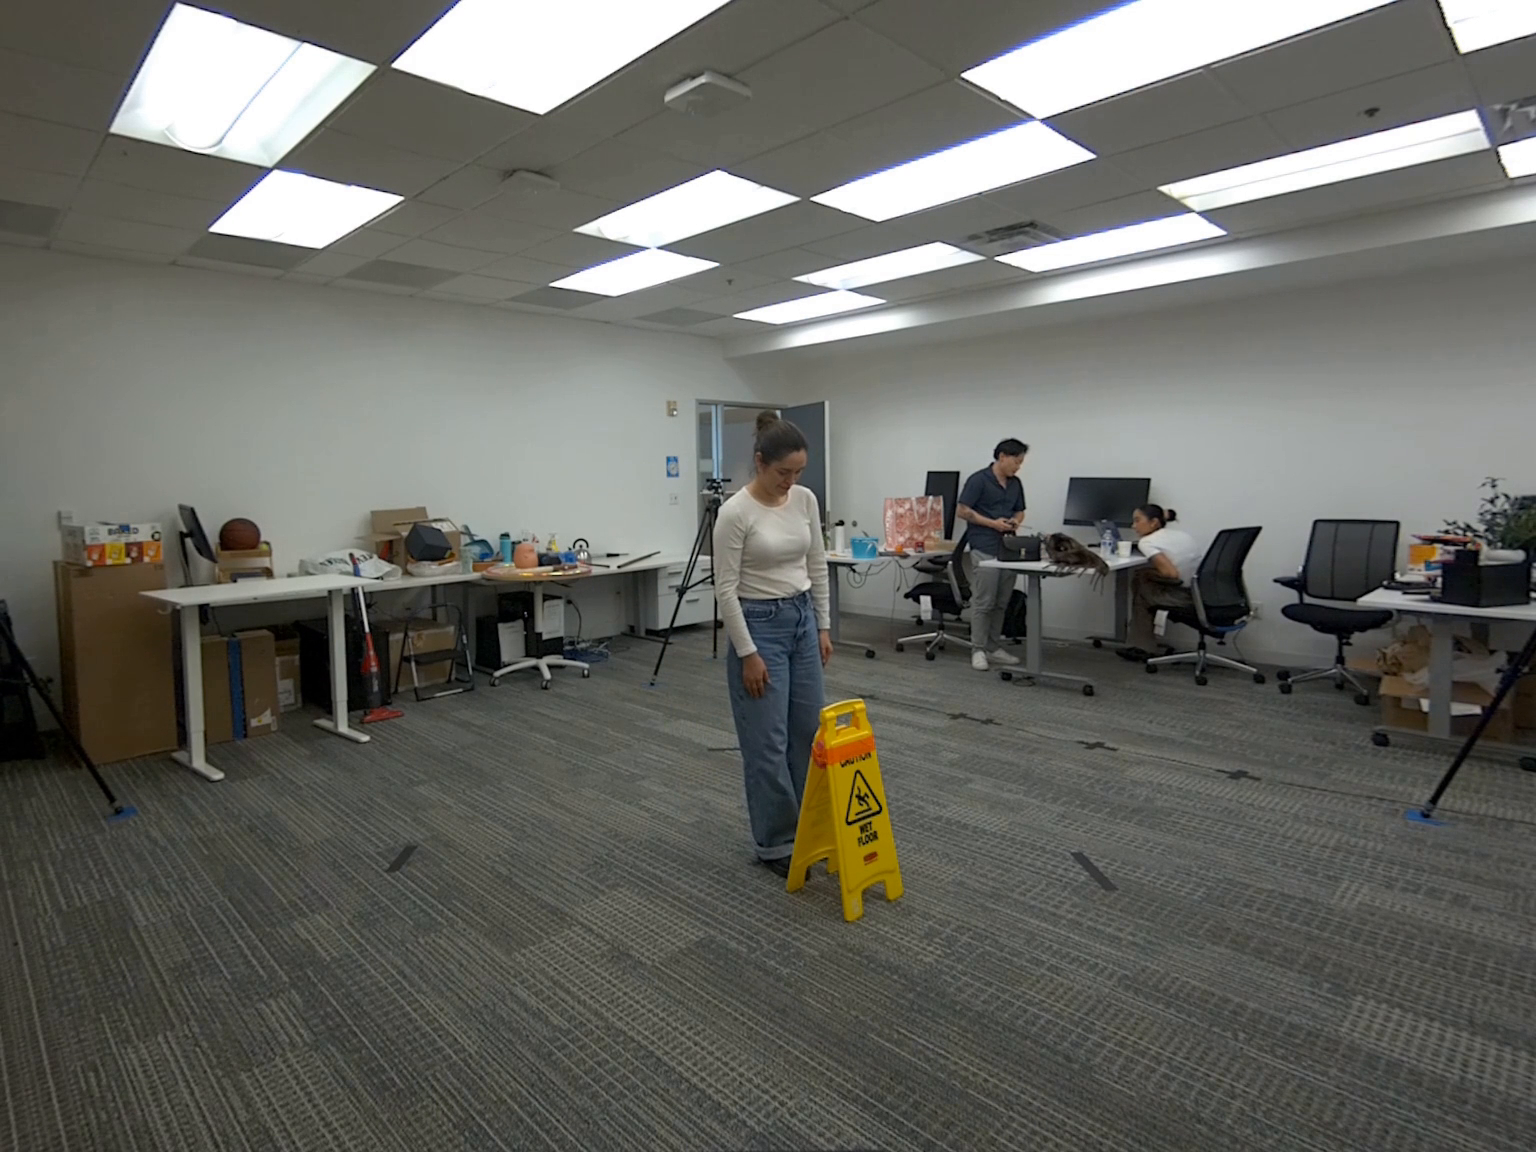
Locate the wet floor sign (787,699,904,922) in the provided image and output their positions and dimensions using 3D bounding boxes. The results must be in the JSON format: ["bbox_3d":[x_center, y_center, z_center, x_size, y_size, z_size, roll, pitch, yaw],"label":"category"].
[{"bbox_3d":[0.249,0.742,2.854,0.275,0.644,0.298,-4,5,-42],"label":"wet floor sign"}]
